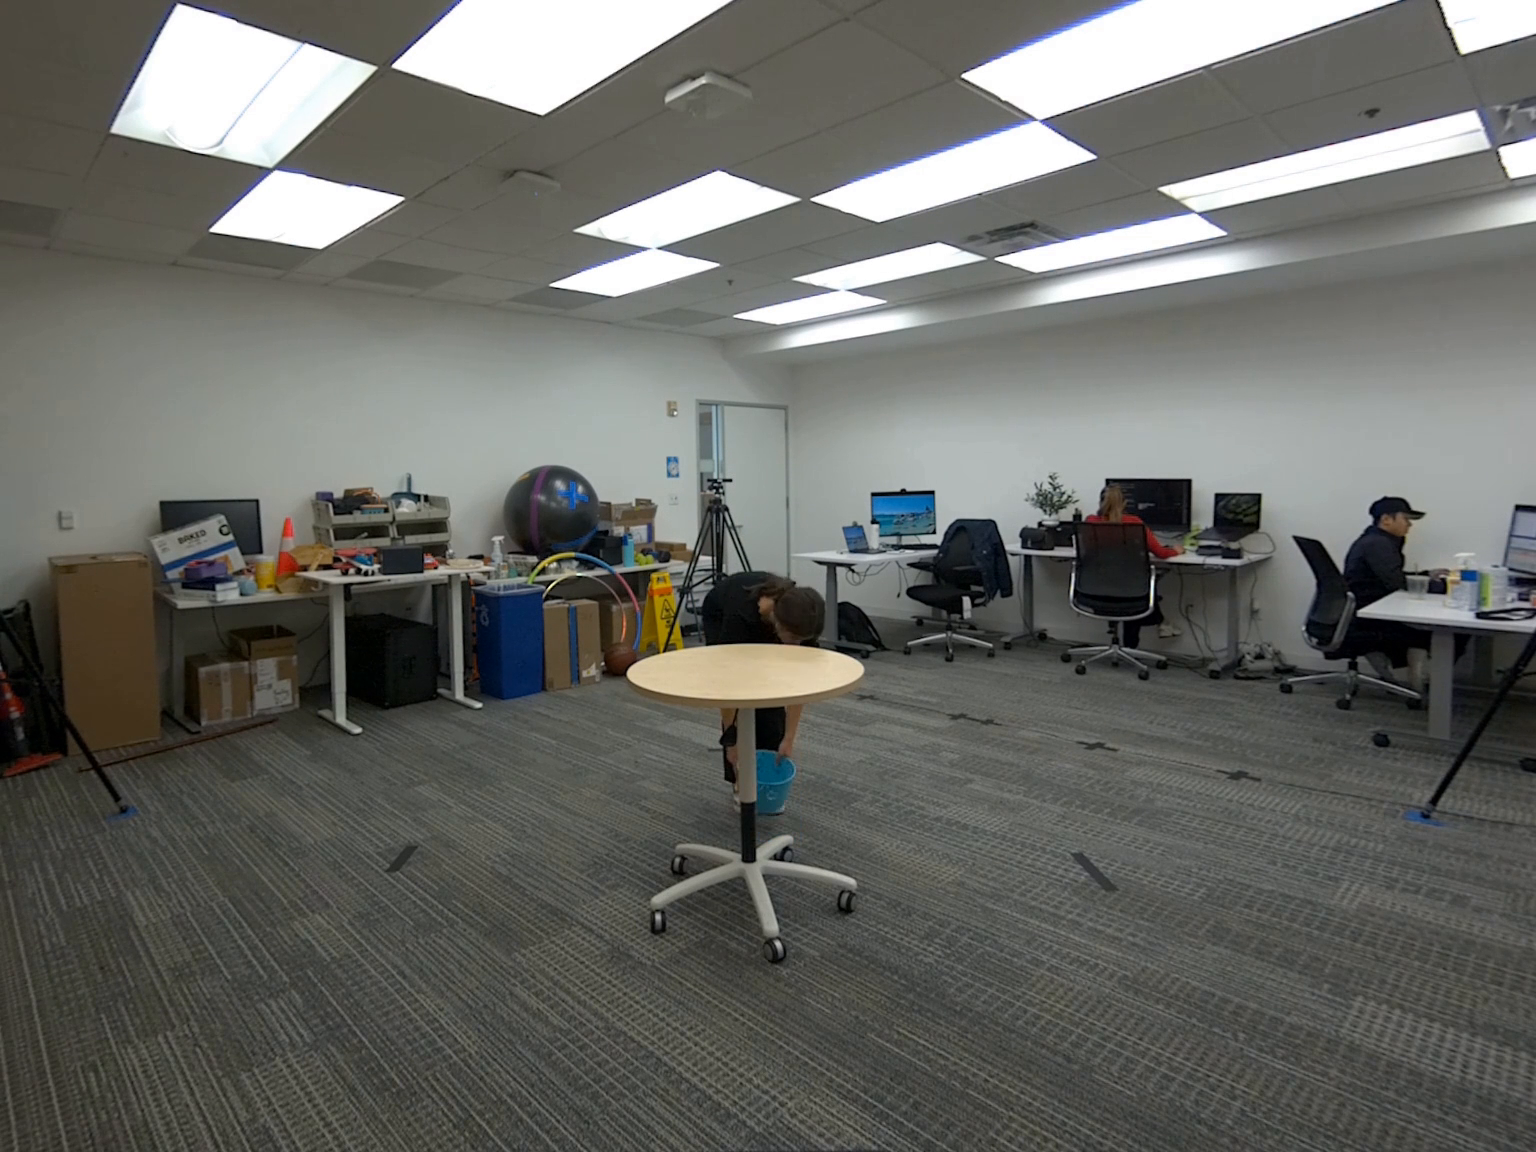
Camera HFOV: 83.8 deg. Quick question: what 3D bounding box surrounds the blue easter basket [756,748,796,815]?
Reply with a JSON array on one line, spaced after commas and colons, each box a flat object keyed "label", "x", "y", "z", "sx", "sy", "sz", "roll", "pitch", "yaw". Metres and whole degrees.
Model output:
[{"label": "blue easter basket", "x": -0.005, "y": 0.825, "z": 3.425, "sx": 0.243, "sy": 0.153, "sz": 0.248, "roll": 3, "pitch": 22, "yaw": -3}]
